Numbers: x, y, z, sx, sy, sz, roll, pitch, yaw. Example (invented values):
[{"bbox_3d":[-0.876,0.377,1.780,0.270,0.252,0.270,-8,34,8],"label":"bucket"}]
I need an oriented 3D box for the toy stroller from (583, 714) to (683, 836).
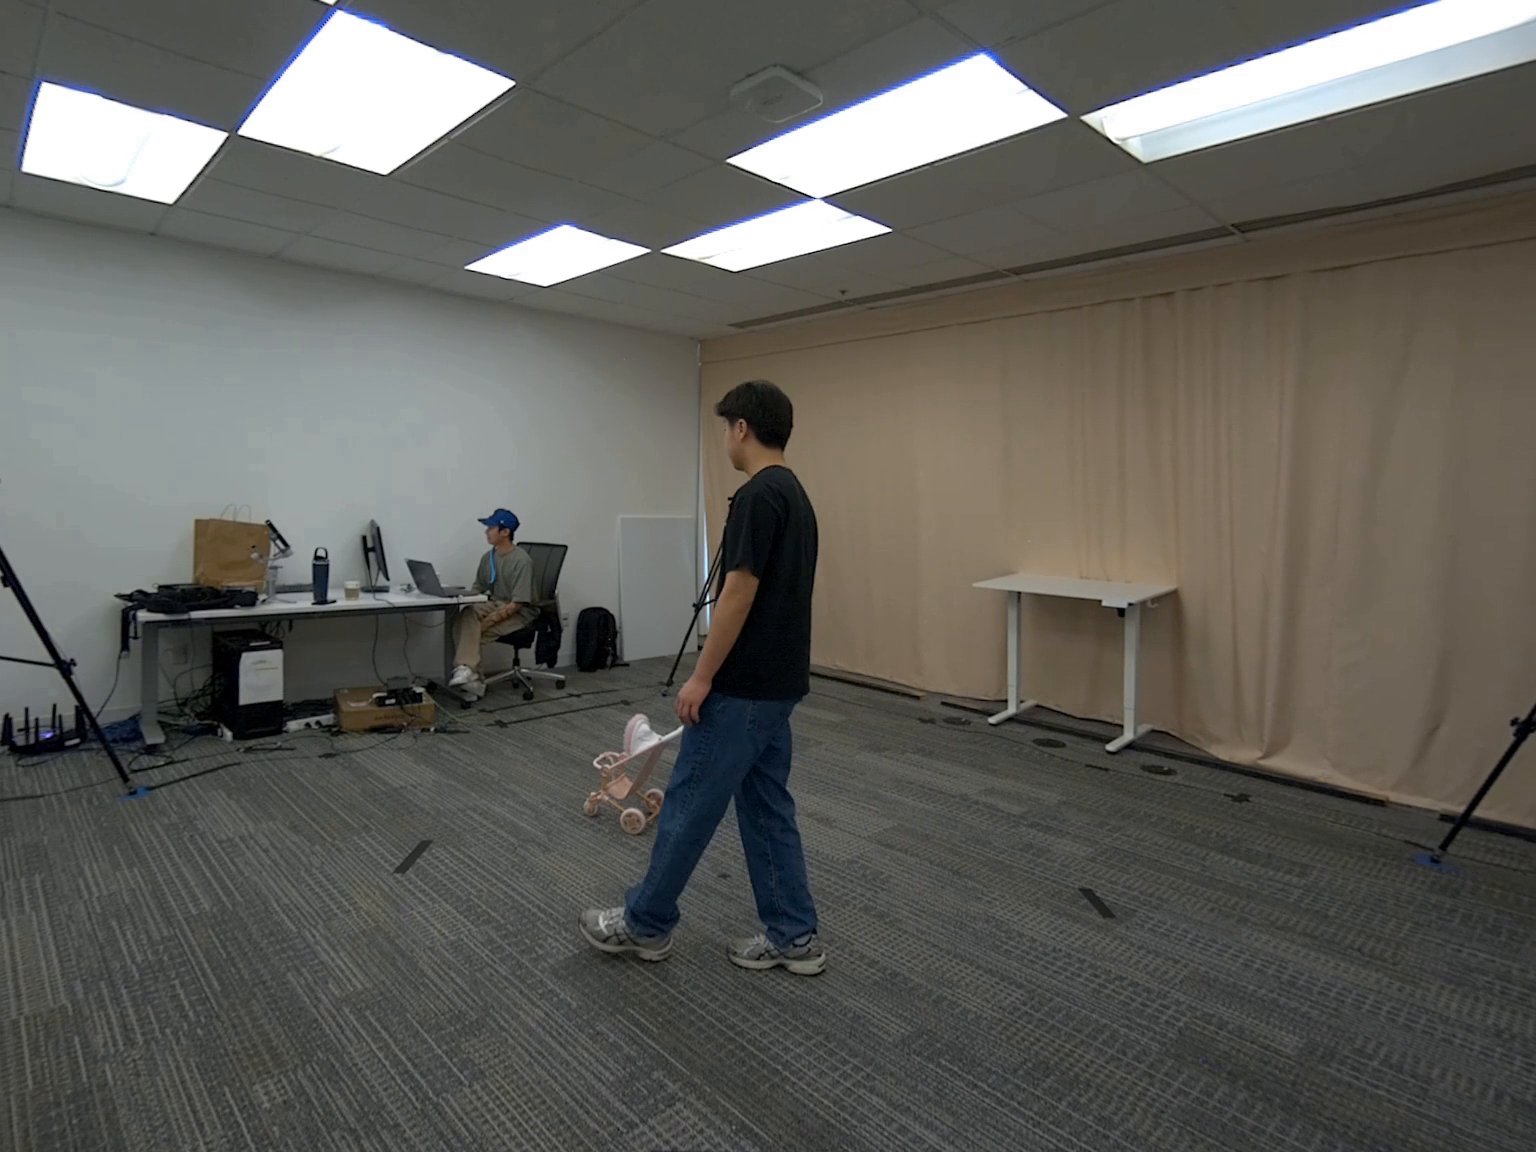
[{"bbox_3d":[-0.590,0.831,3.602,0.348,0.533,0.277,20,9,18],"label":"toy stroller"}]
